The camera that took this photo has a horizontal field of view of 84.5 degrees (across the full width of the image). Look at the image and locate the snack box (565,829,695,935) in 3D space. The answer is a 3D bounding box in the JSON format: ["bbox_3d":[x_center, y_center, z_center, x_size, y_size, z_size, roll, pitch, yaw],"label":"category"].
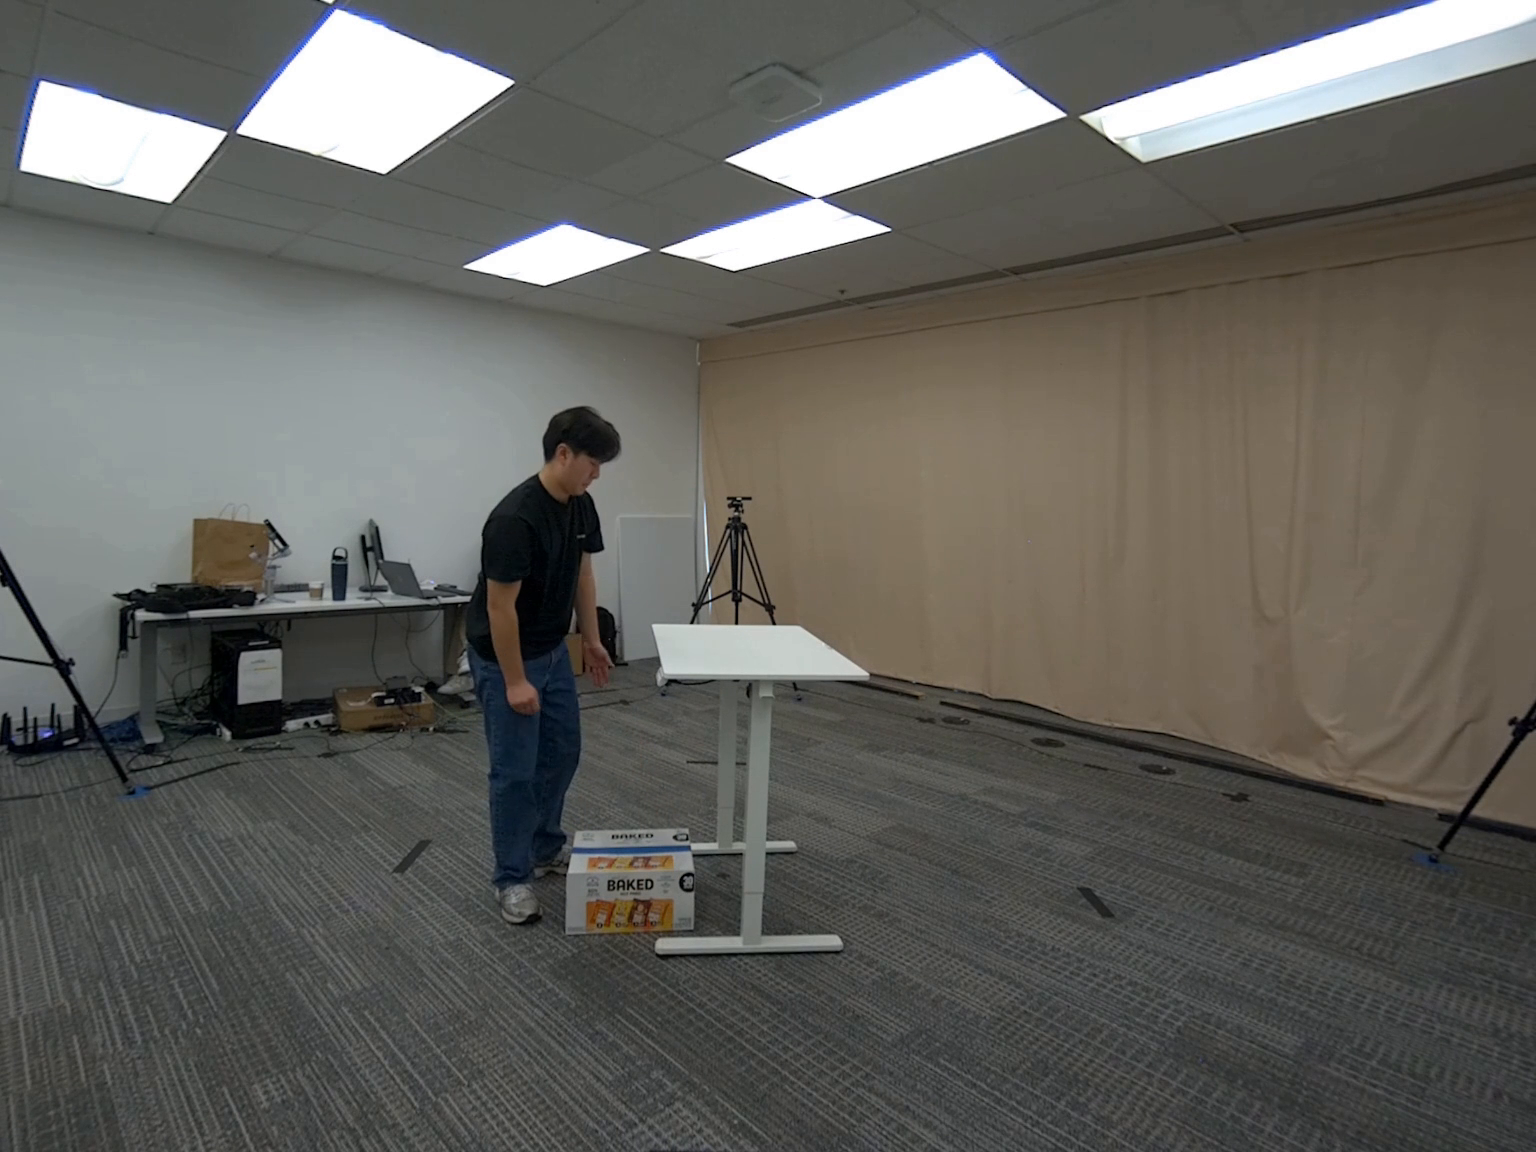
[{"bbox_3d":[-0.465,1.025,2.833,0.403,0.205,0.343,1,5,-8],"label":"snack box"}]
